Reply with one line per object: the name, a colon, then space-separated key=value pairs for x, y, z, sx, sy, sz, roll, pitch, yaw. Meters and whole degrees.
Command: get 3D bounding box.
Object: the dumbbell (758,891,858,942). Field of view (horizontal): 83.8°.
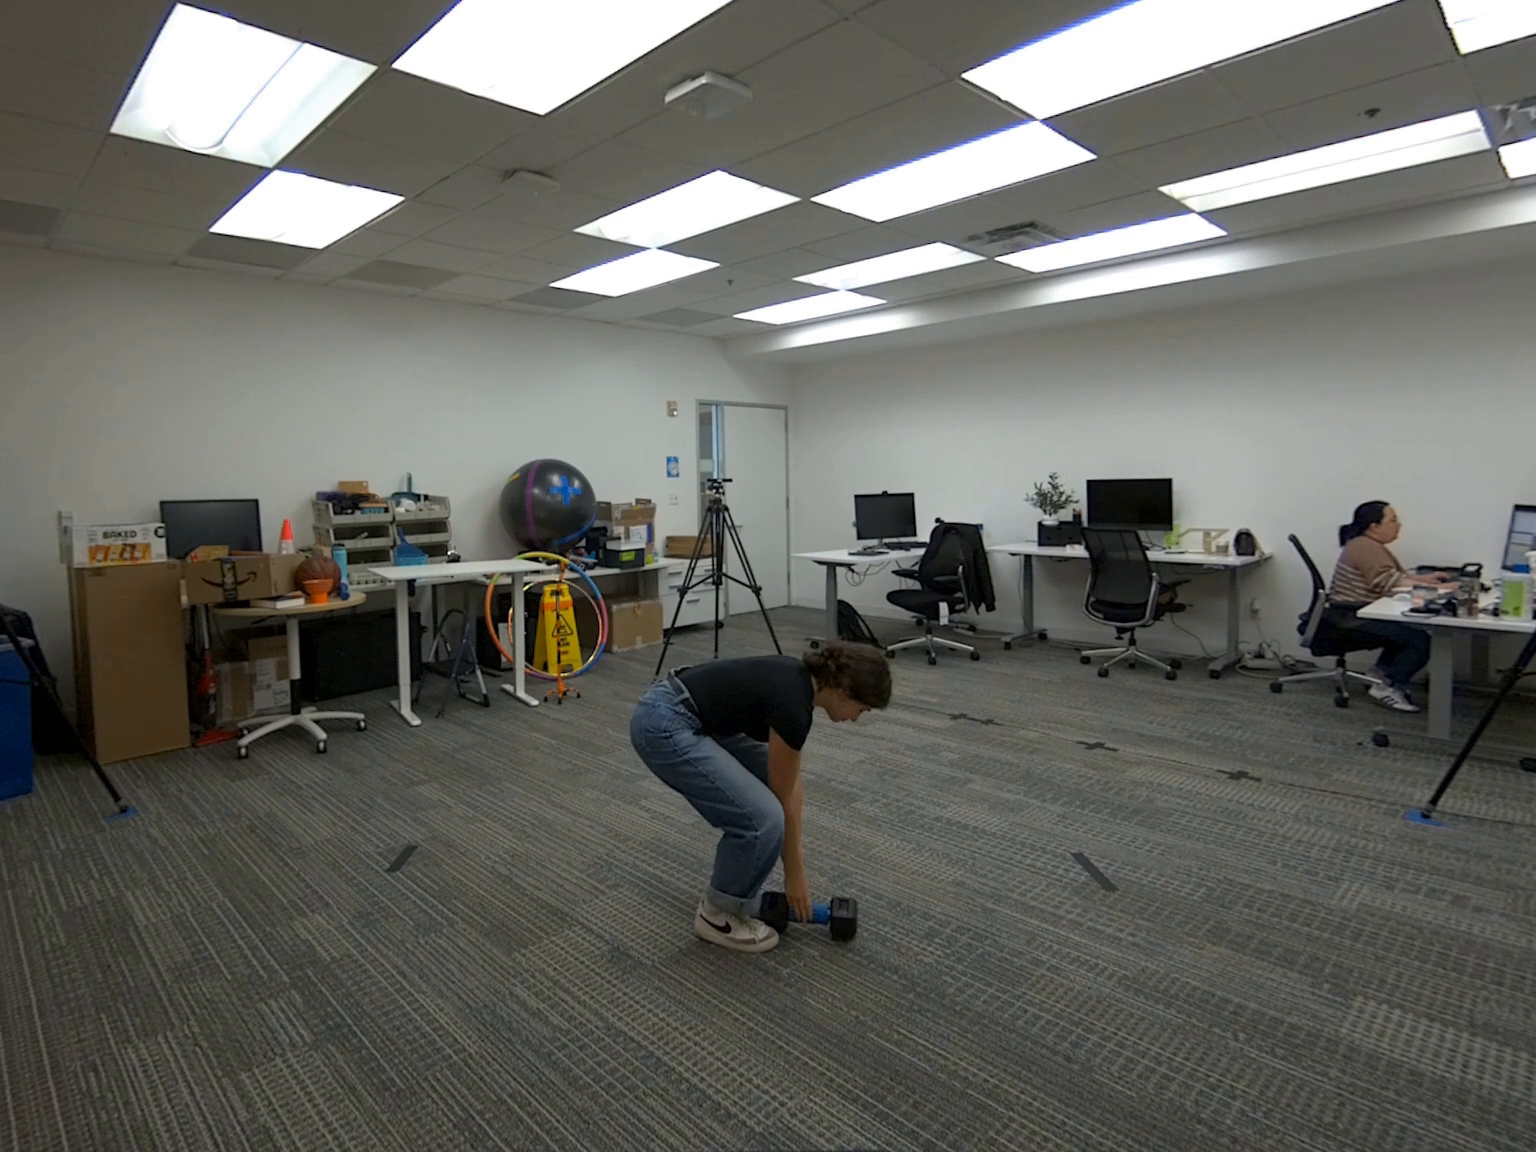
dumbbell: x=0.142 y=1.044 z=2.624 sx=0.296 sy=0.122 sz=0.109 roll=0 pitch=12 yaw=9
